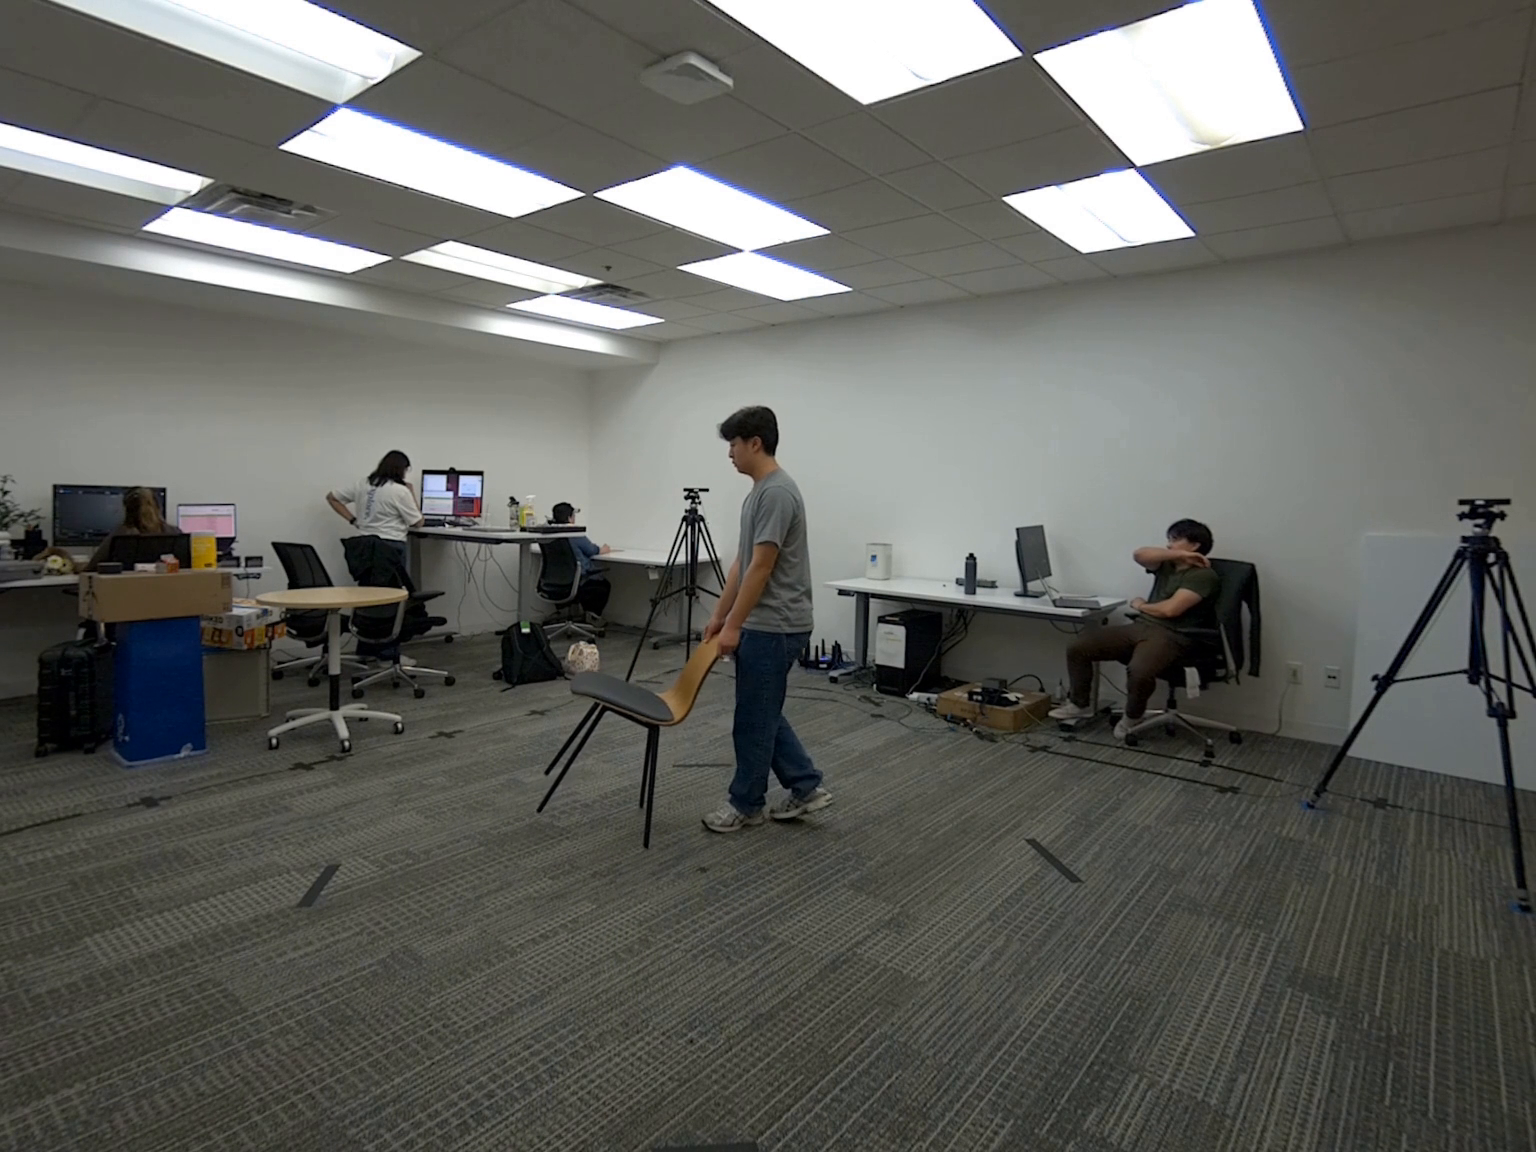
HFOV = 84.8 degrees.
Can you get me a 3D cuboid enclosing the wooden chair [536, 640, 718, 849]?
[{"bbox_3d":[-0.580,0.548,3.450,0.516,0.877,0.485,26,0,-11],"label":"wooden chair"}]
